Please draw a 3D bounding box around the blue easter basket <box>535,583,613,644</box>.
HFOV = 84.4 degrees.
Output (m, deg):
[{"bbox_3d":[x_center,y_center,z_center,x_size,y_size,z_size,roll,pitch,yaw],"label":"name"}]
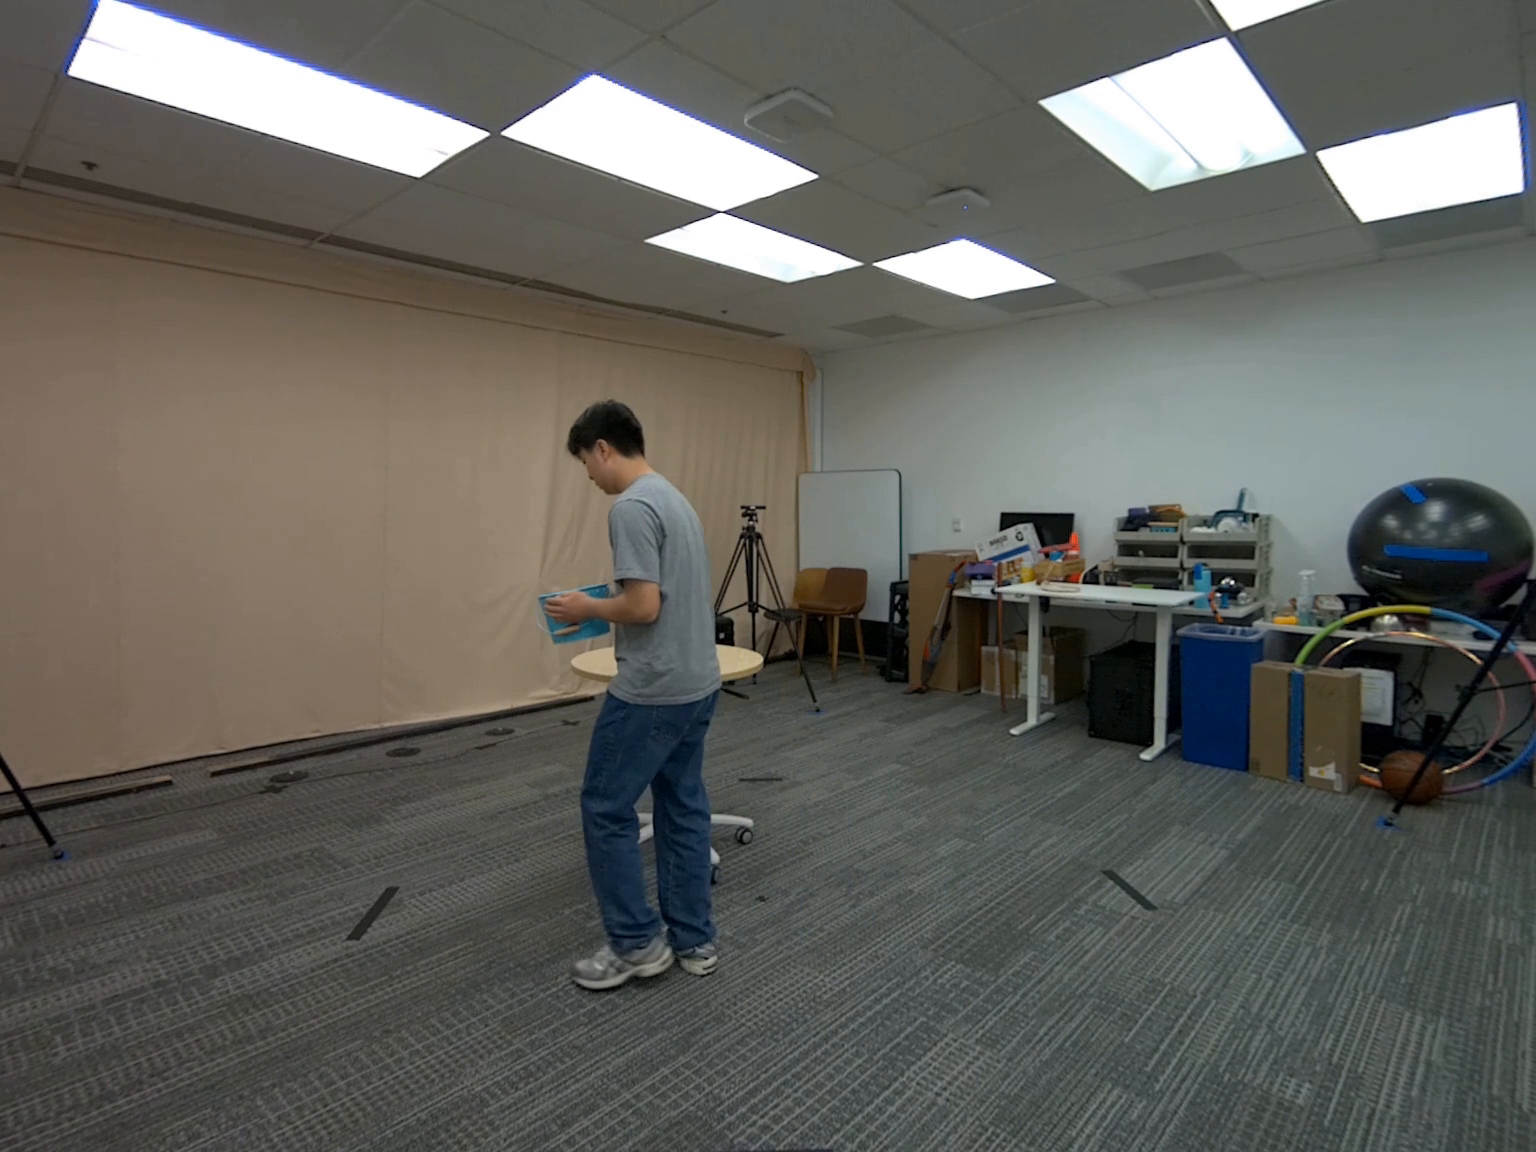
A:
[{"bbox_3d":[-0.595,0.127,2.619,0.243,0.156,0.244,-9,2,-2],"label":"blue easter basket"}]
